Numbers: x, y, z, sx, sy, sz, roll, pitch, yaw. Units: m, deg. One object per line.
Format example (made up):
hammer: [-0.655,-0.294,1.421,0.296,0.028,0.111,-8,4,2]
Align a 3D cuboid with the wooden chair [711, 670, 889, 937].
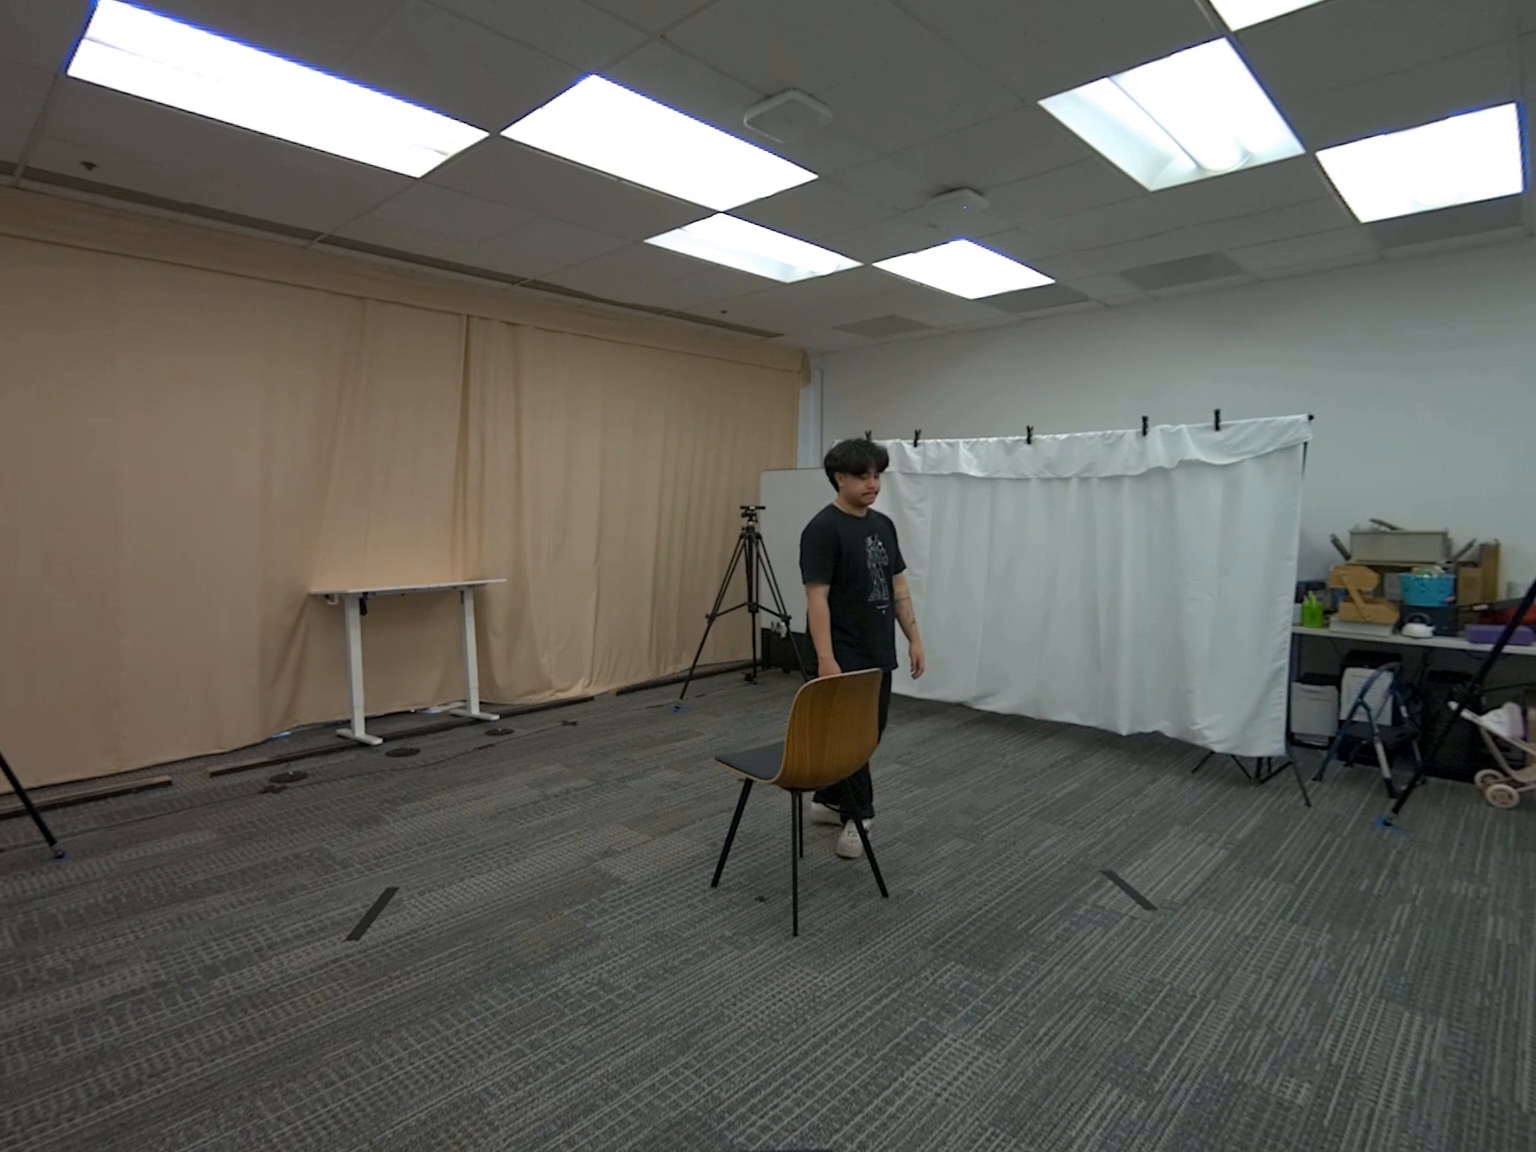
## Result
wooden chair: [0.101,0.714,3.010,0.464,0.874,0.541,-3,9,-39]
